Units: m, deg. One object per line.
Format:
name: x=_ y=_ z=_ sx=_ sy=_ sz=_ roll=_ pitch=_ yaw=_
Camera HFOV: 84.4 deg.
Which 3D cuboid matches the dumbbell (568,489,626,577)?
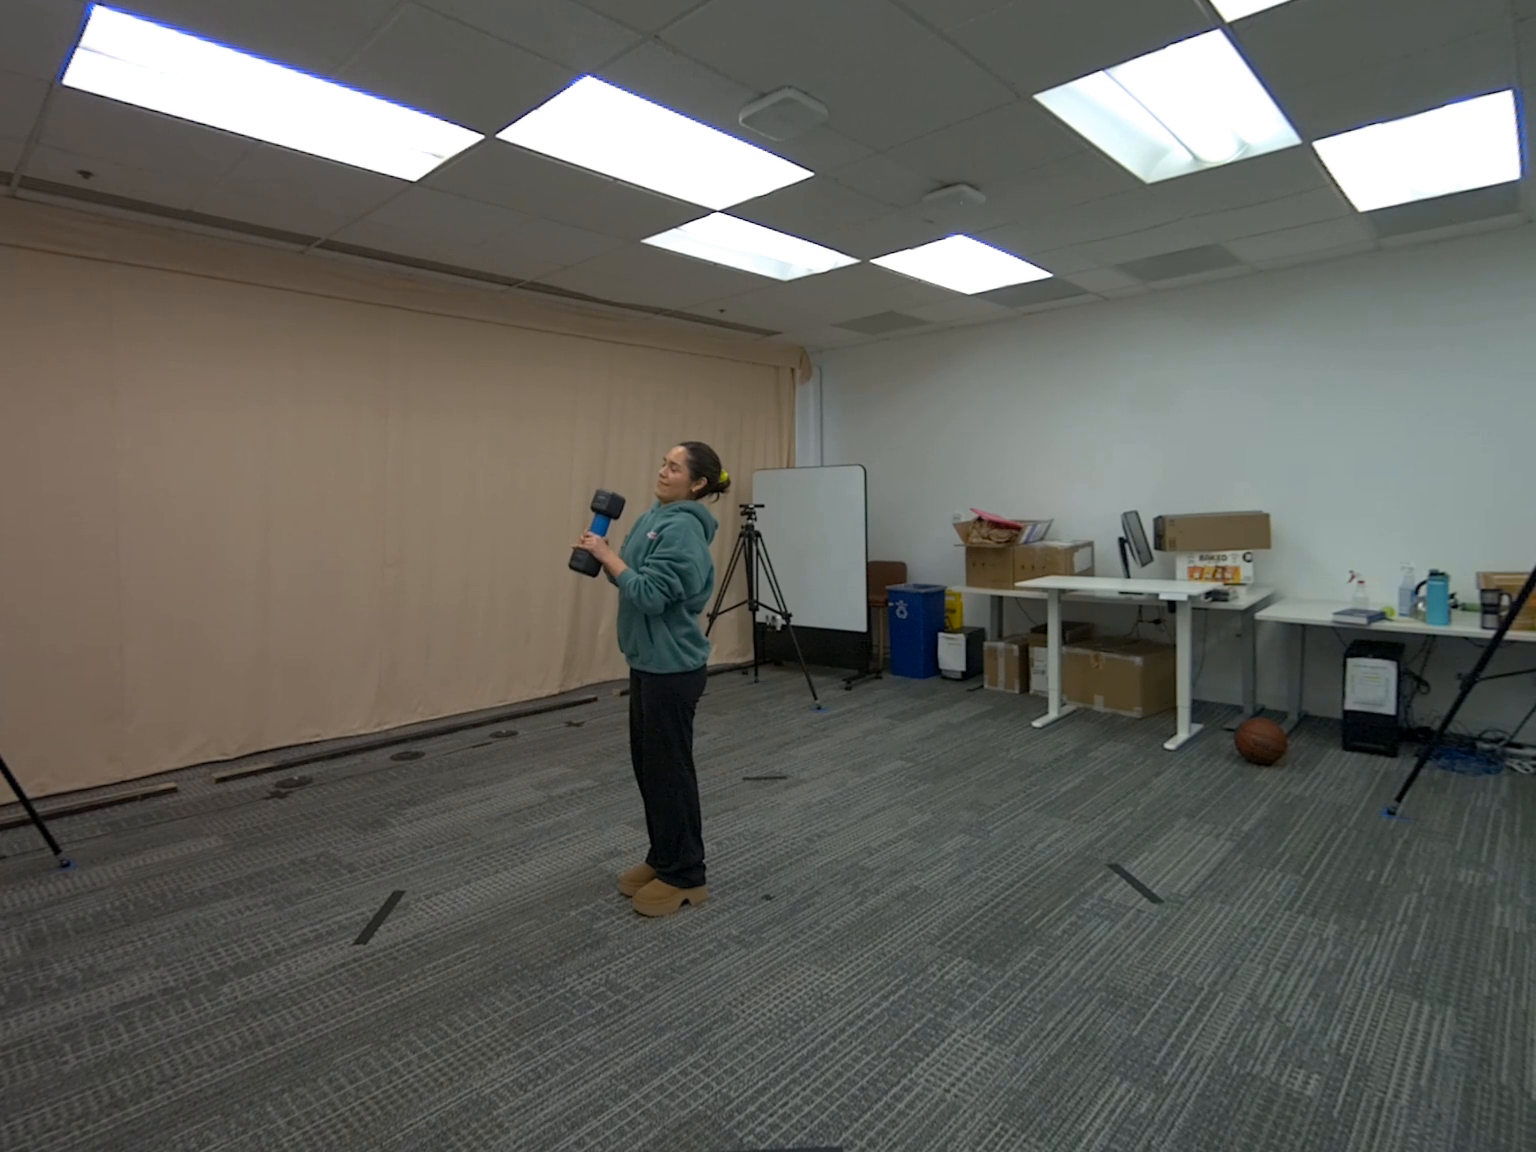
dumbbell: x=-0.580 y=-0.155 z=2.876 sx=0.119 sy=0.294 sz=0.112 roll=24 pitch=-8 yaw=-33
